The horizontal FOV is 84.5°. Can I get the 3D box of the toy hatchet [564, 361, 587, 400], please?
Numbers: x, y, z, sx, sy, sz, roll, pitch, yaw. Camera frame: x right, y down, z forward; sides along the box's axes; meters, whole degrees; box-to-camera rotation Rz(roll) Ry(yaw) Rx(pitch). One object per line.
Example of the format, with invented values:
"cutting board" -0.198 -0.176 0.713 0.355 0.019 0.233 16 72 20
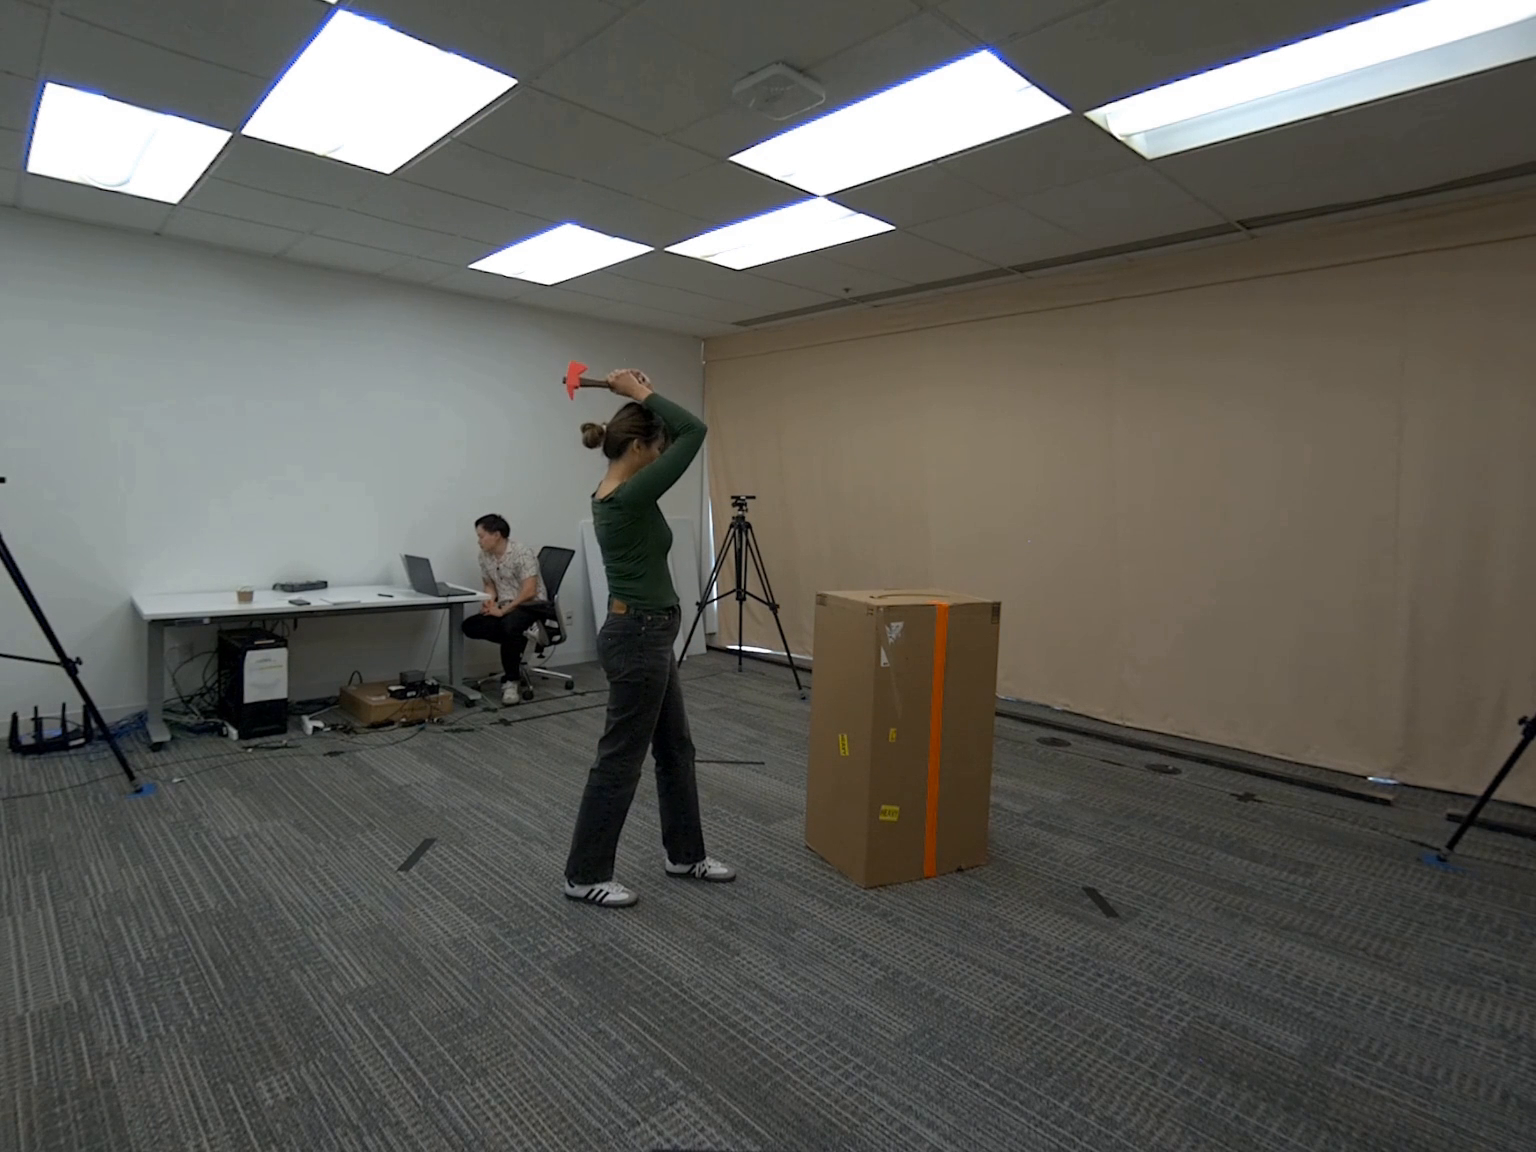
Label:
"toy hatchet" -0.544 -0.688 2.814 0.268 0.132 0.029 -18 -9 -15
